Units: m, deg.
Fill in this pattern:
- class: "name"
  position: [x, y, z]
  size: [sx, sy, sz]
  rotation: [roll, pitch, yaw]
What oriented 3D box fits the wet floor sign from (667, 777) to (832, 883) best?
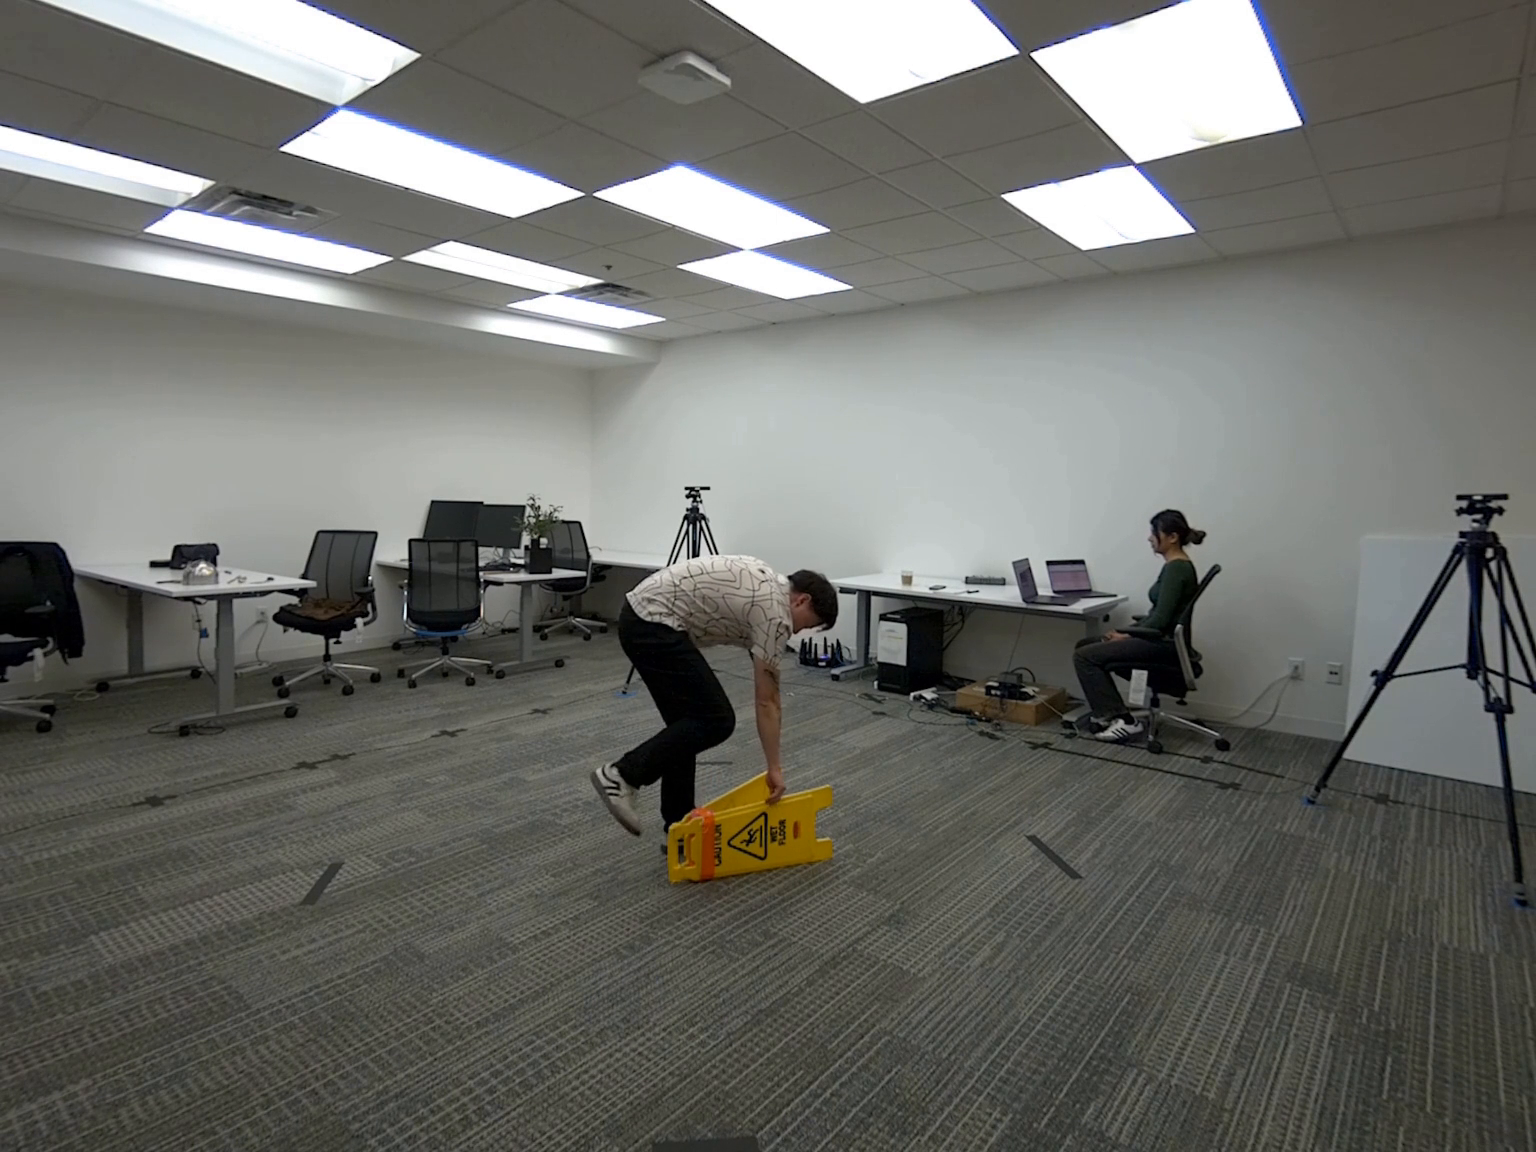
- class: "wet floor sign"
  position: [-0.105, 0.935, 3.126]
  size: [0.628, 0.281, 0.299]
  rotation: [-6, 7, -39]
